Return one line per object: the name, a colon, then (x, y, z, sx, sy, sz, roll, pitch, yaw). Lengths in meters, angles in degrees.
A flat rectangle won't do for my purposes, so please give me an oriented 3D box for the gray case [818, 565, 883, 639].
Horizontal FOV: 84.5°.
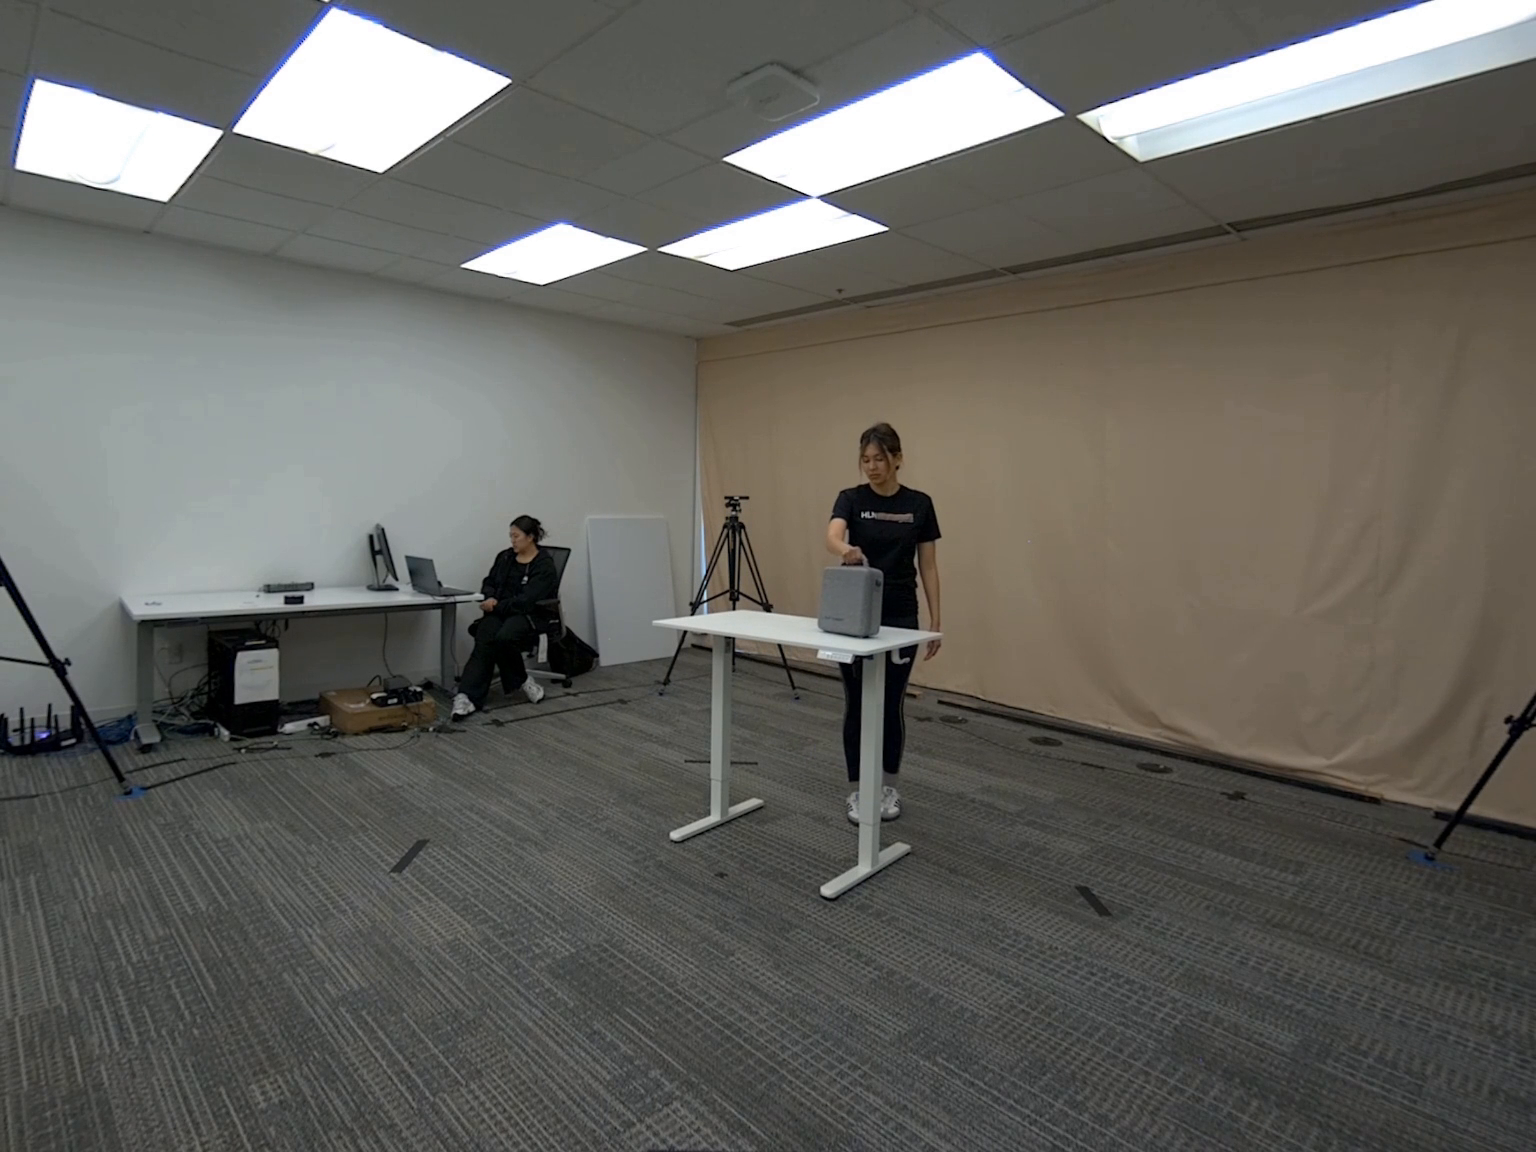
gray case: (0.294, 0.087, 3.181, 0.102, 0.261, 0.263, 6, -2, -37)
